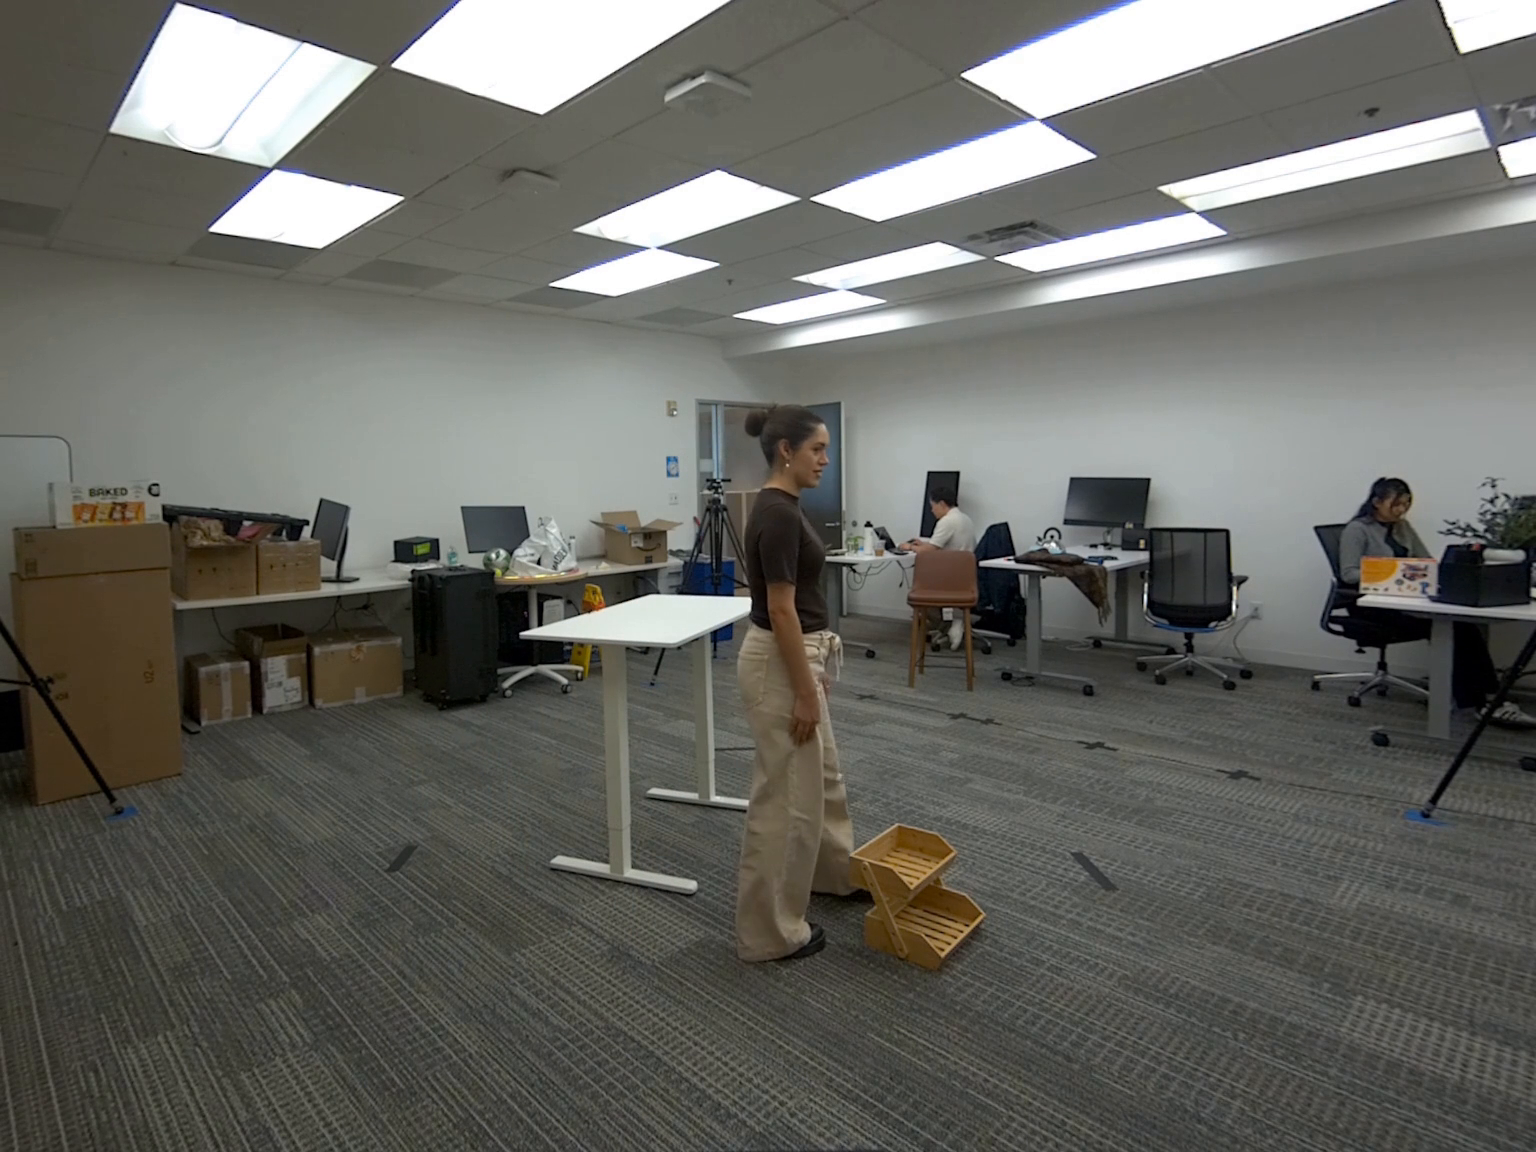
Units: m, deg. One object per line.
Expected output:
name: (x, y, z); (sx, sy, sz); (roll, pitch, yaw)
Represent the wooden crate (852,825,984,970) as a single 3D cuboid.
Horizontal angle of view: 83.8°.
wooden crate: (0.460, 0.959, 2.597); (0.311, 0.272, 0.316); (2, 7, 38)
